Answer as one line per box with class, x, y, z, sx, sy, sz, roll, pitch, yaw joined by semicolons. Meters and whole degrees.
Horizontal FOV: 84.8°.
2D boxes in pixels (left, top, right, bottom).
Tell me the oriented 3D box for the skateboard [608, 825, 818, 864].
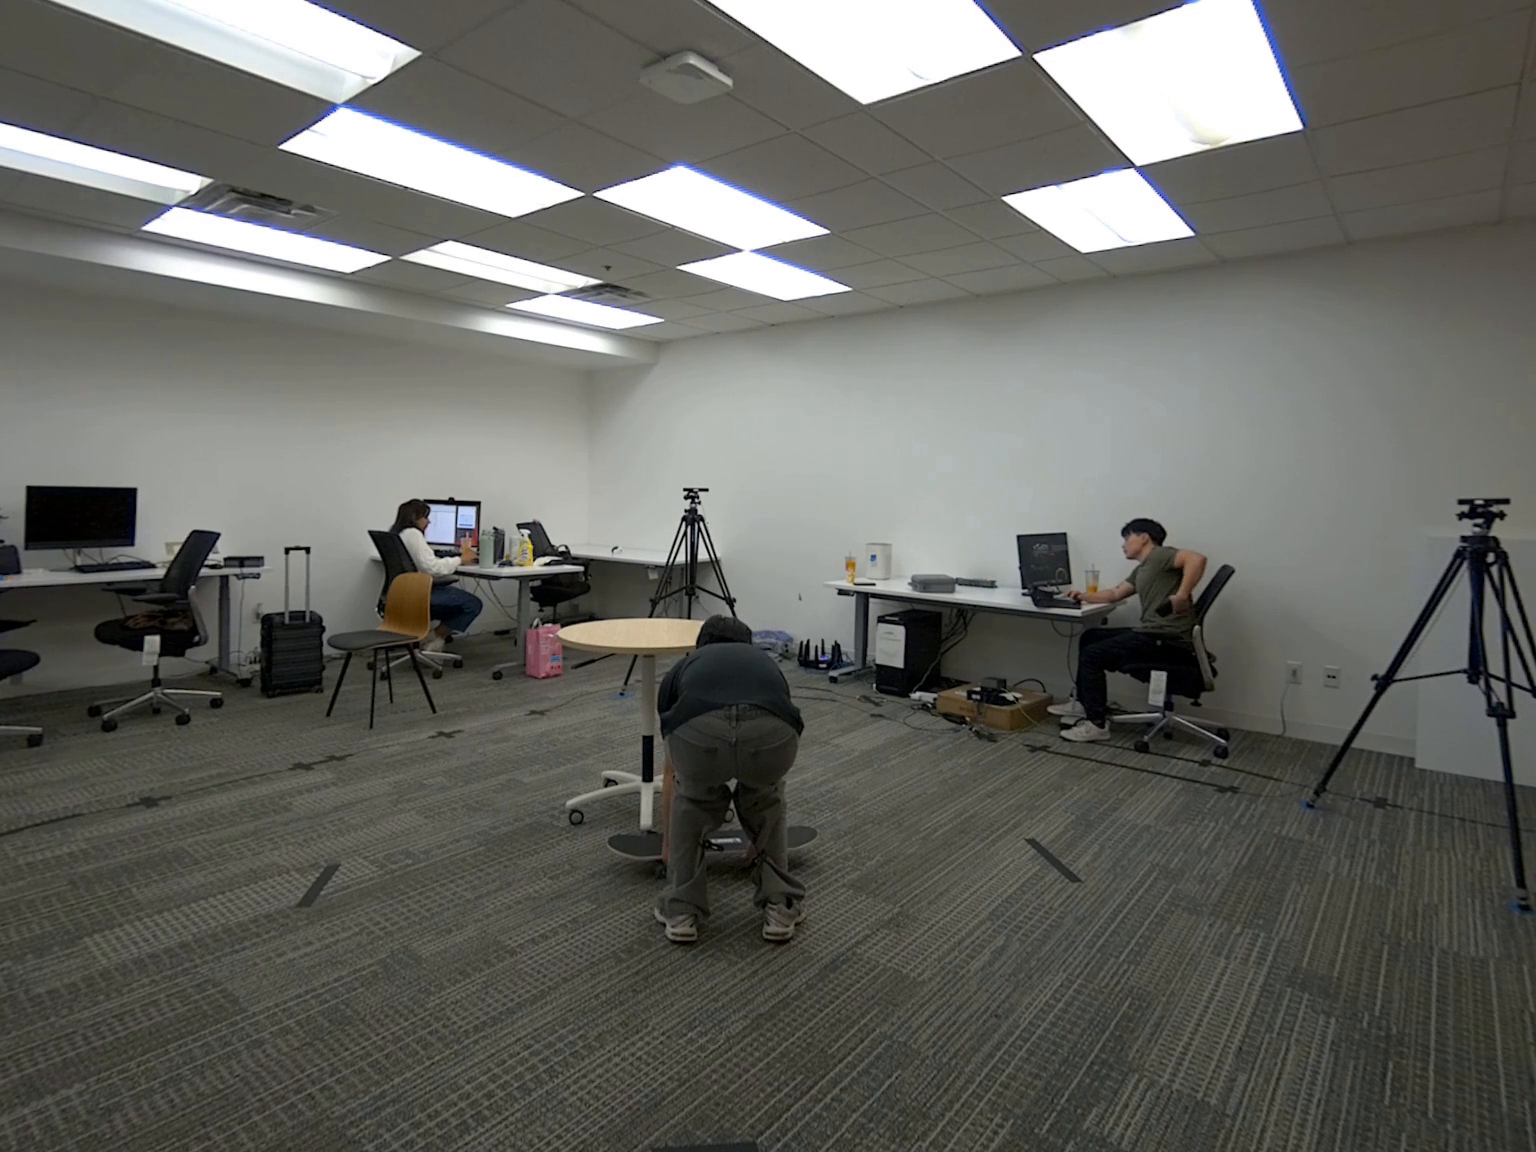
skateboard;-0.207;1.003;3.140;0.776;0.110;0.196;0;4;-11
